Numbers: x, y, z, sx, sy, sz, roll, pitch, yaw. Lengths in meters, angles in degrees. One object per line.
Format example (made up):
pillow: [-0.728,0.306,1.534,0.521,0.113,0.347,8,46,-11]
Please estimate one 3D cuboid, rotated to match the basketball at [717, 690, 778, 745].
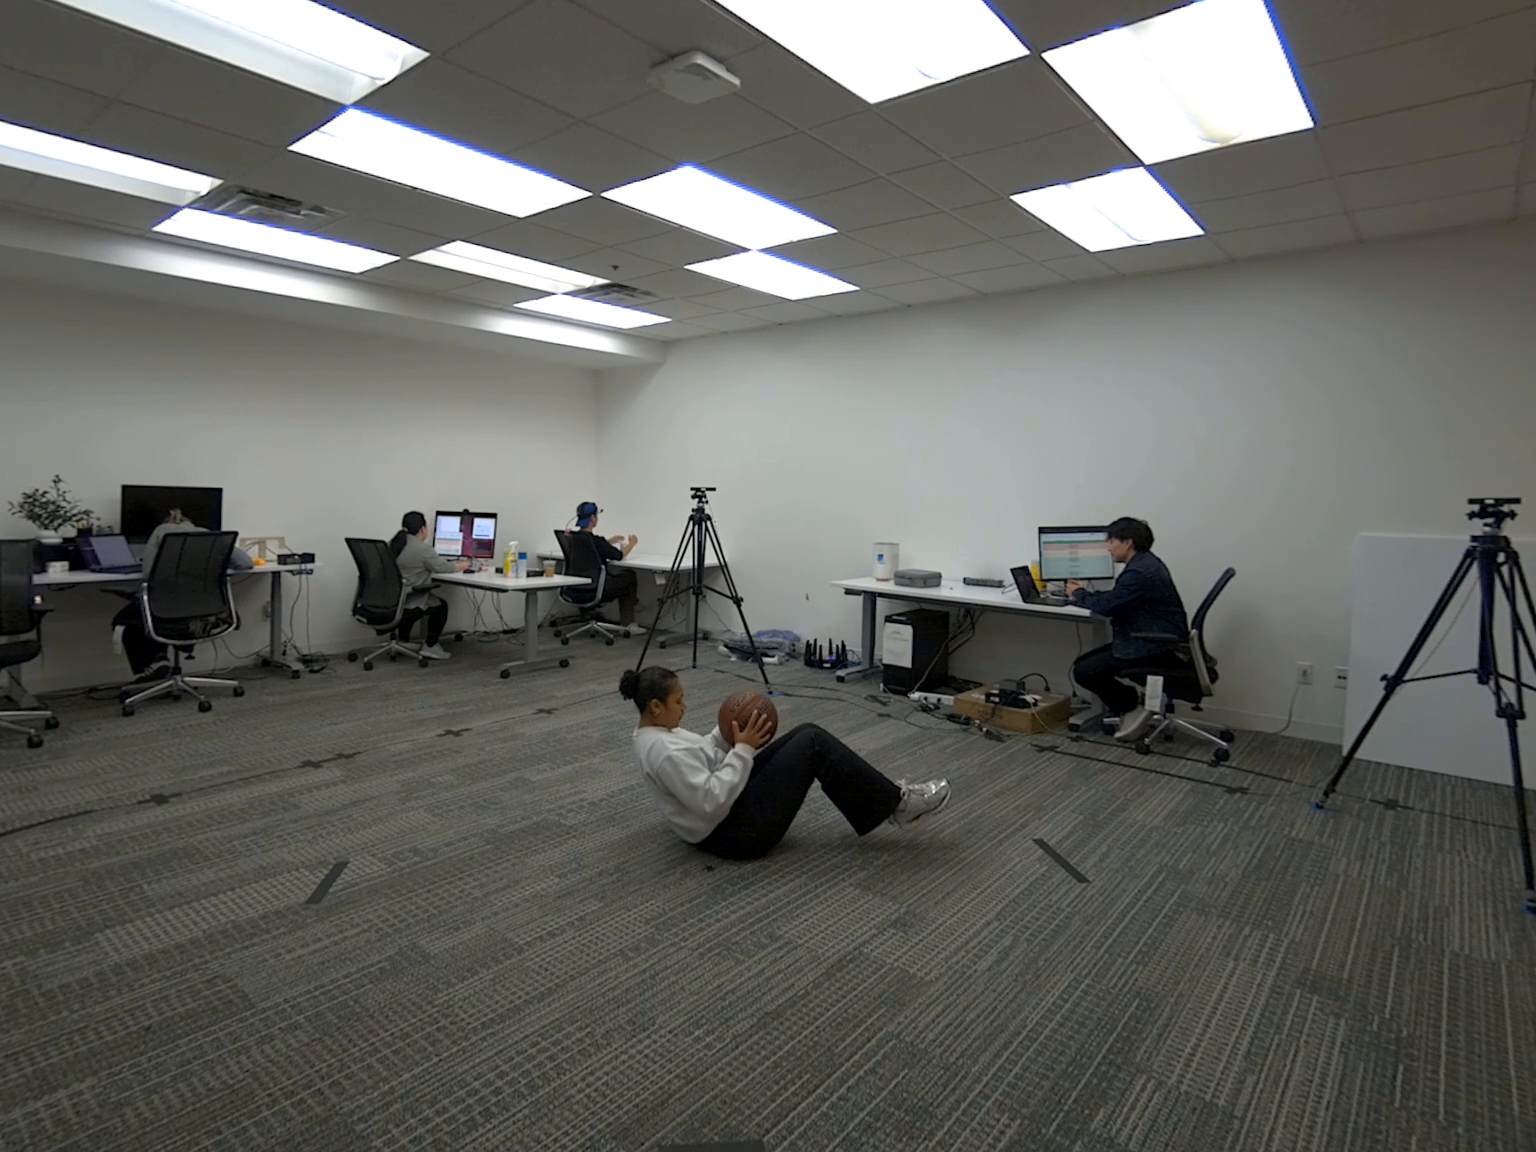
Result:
basketball: [-0.112,0.597,3.367,0.235,0.235,0.237,1,4,-2]
